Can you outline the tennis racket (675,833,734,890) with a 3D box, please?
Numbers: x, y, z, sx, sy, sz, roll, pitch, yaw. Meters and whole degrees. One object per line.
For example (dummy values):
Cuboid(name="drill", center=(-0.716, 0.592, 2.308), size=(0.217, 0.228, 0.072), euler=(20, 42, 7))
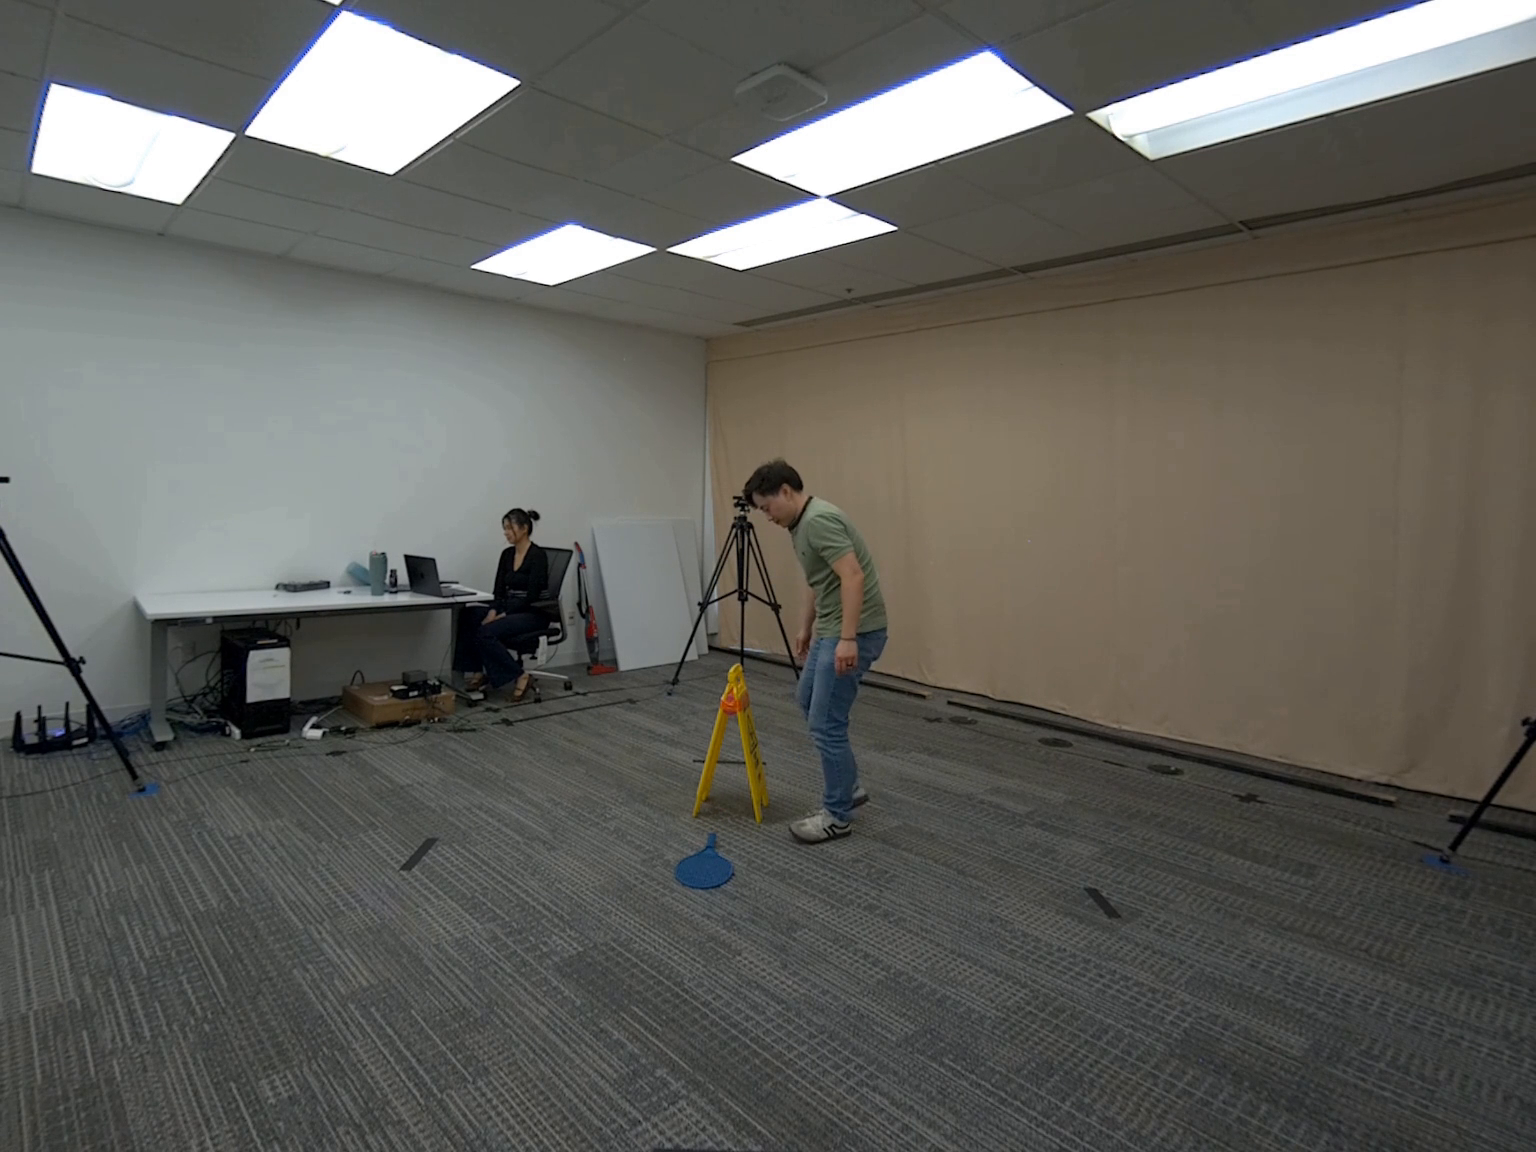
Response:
Cuboid(name="tennis racket", center=(-0.239, 1.077, 3.195), size=(0.214, 0.031, 0.434), euler=(1, 7, 1))
